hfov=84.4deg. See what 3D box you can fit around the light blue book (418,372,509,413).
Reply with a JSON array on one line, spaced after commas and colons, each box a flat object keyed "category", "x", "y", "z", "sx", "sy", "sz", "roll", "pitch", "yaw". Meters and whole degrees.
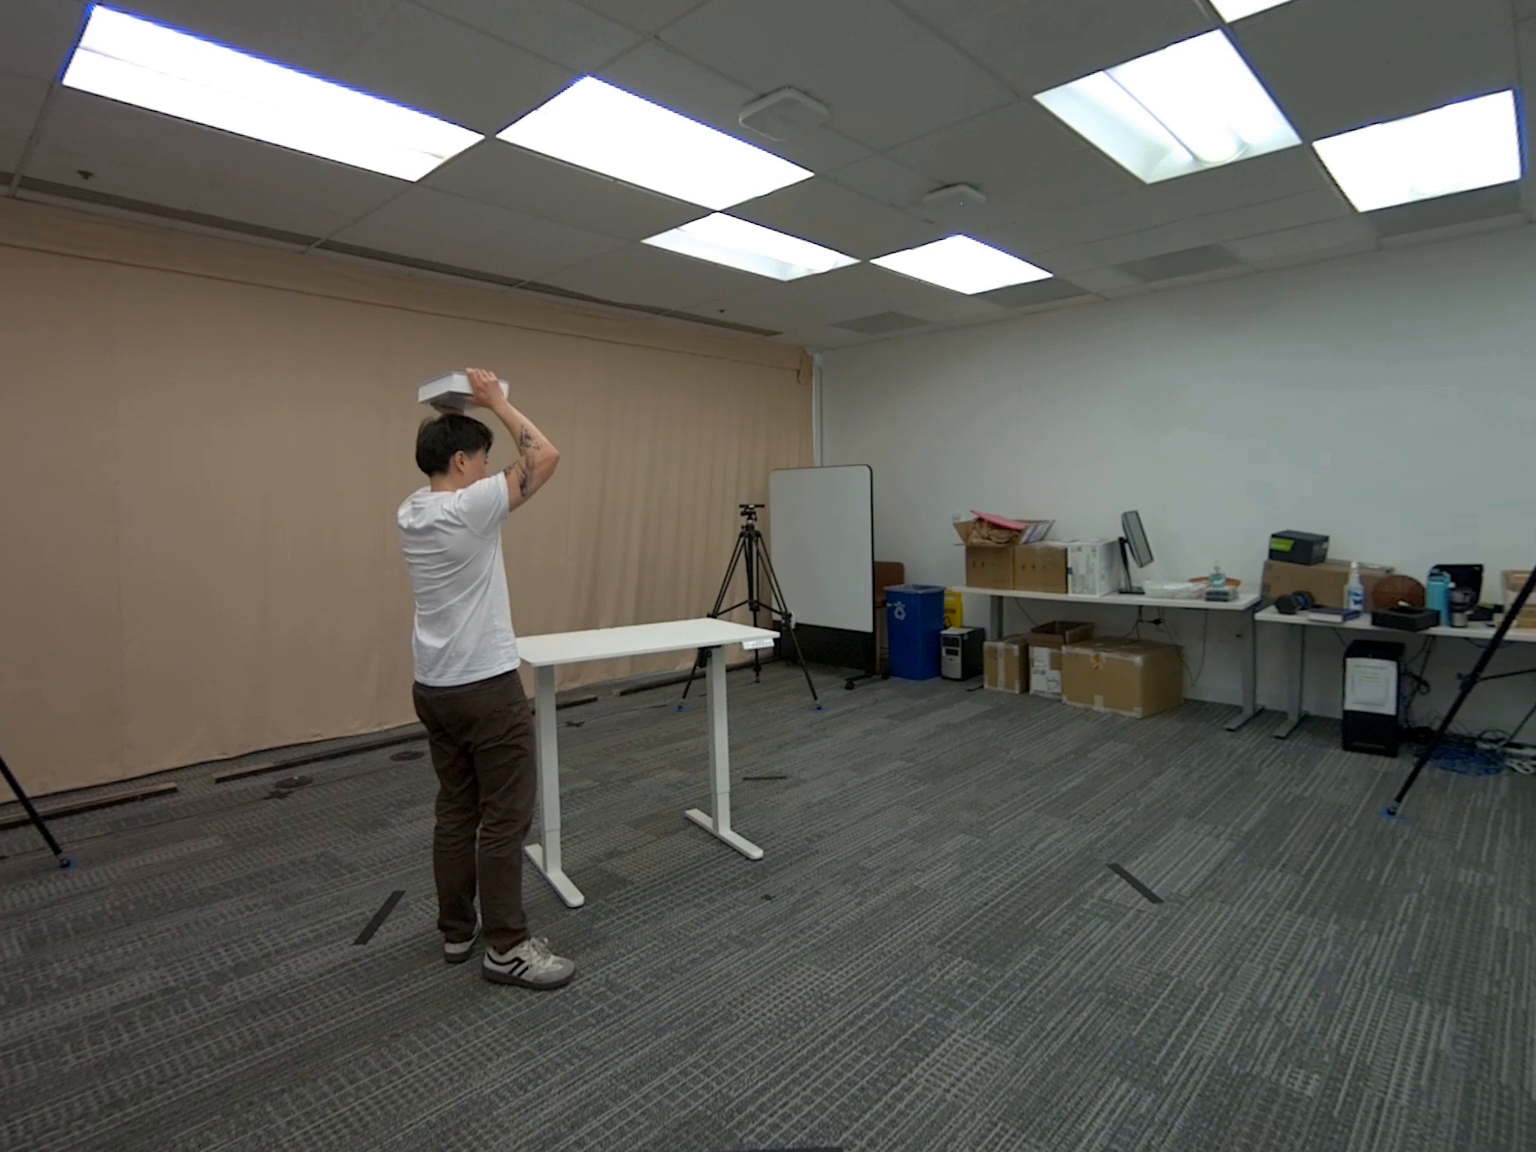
[{"category": "light blue book", "x": -0.965, "y": -0.578, "z": 2.644, "sx": 0.185, "sy": 0.059, "sz": 0.269, "roll": 0, "pitch": 0, "yaw": -42}]
